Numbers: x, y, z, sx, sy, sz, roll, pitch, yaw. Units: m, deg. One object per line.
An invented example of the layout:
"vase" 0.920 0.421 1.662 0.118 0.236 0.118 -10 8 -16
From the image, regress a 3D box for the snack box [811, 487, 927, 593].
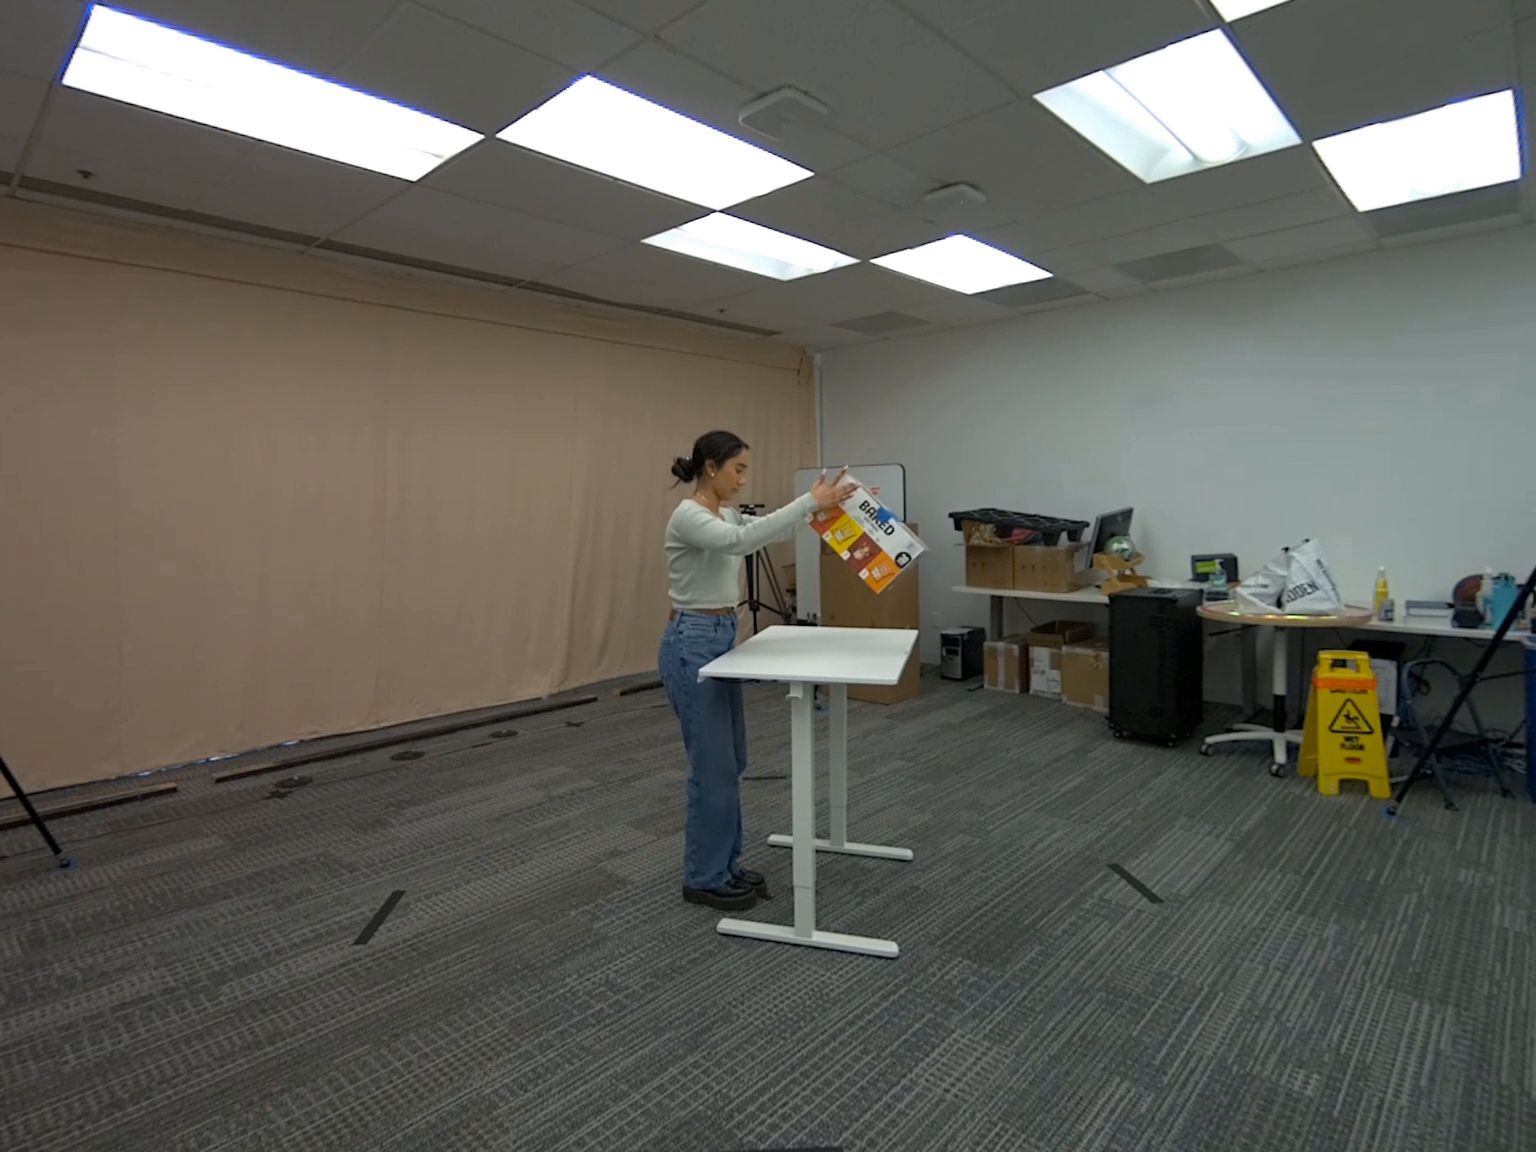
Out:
"snack box" 0.343 -0.139 2.845 0.206 0.345 0.398 -44 -11 10
